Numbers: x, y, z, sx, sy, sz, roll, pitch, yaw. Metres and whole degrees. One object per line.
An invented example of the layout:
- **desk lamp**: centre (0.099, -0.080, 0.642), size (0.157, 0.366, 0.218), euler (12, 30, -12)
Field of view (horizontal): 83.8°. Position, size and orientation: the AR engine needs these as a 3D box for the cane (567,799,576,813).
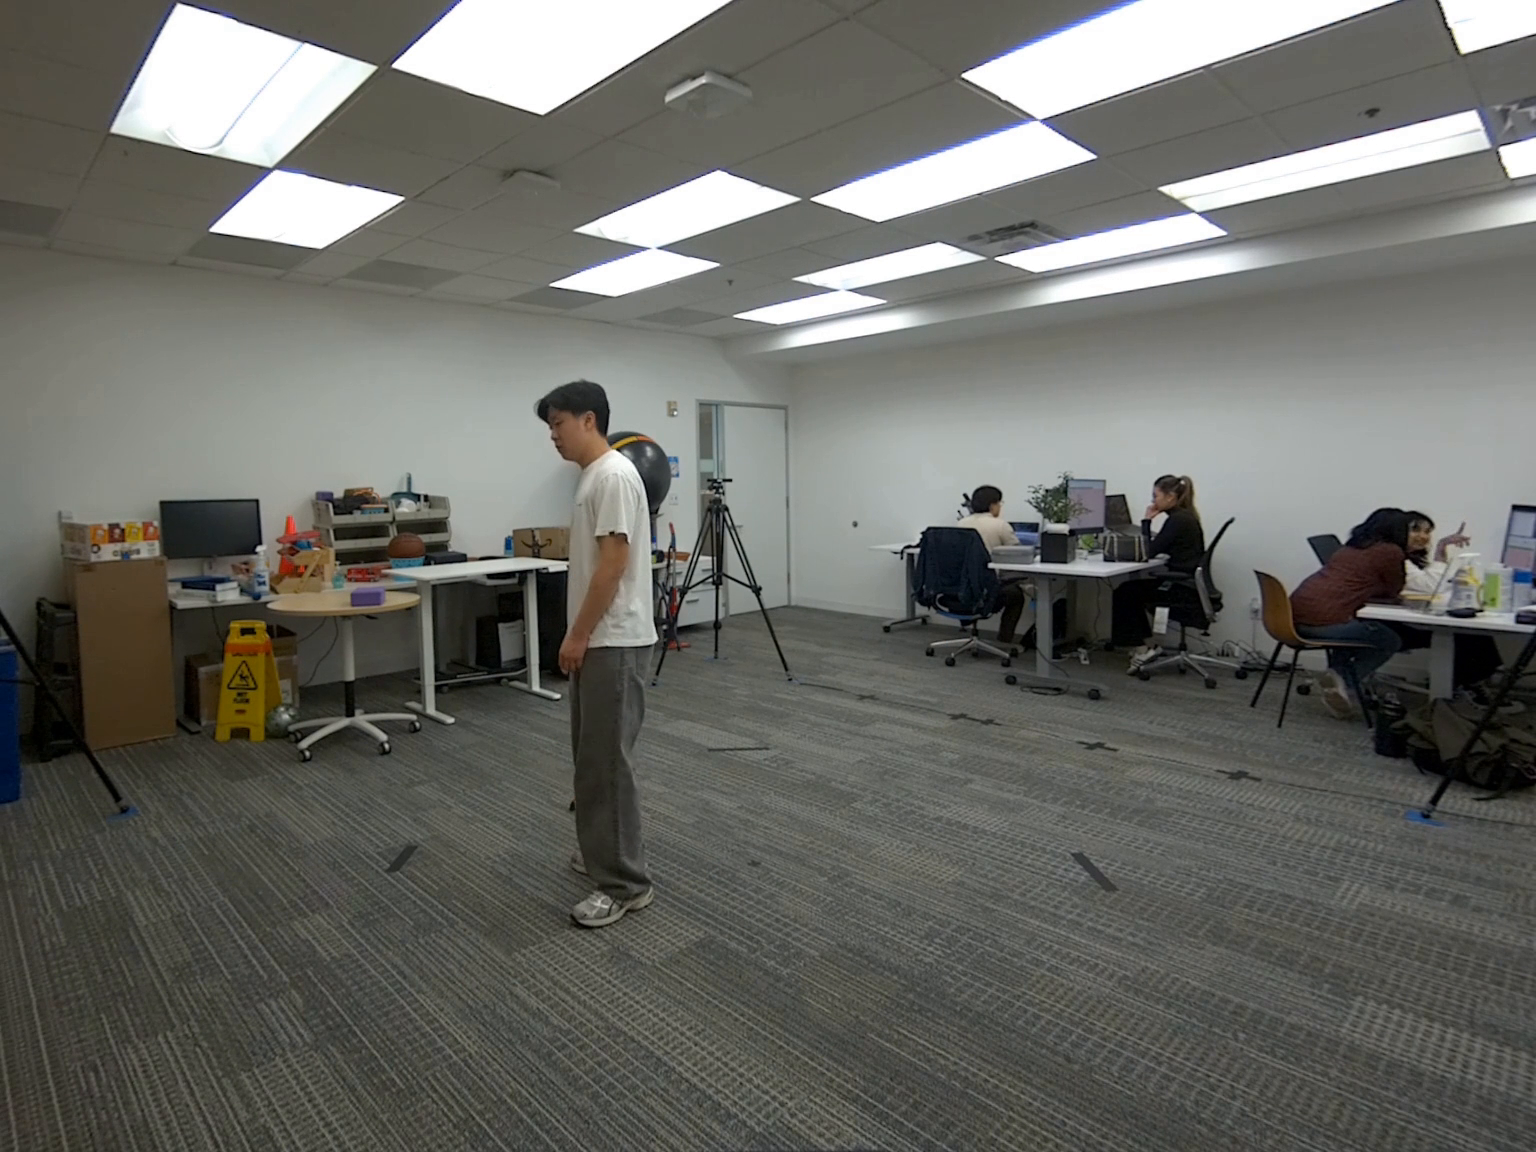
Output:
- **cane**: centre (-0.732, 0.548, 3.638), size (0.212, 0.905, 0.148), euler (1, 4, 32)
